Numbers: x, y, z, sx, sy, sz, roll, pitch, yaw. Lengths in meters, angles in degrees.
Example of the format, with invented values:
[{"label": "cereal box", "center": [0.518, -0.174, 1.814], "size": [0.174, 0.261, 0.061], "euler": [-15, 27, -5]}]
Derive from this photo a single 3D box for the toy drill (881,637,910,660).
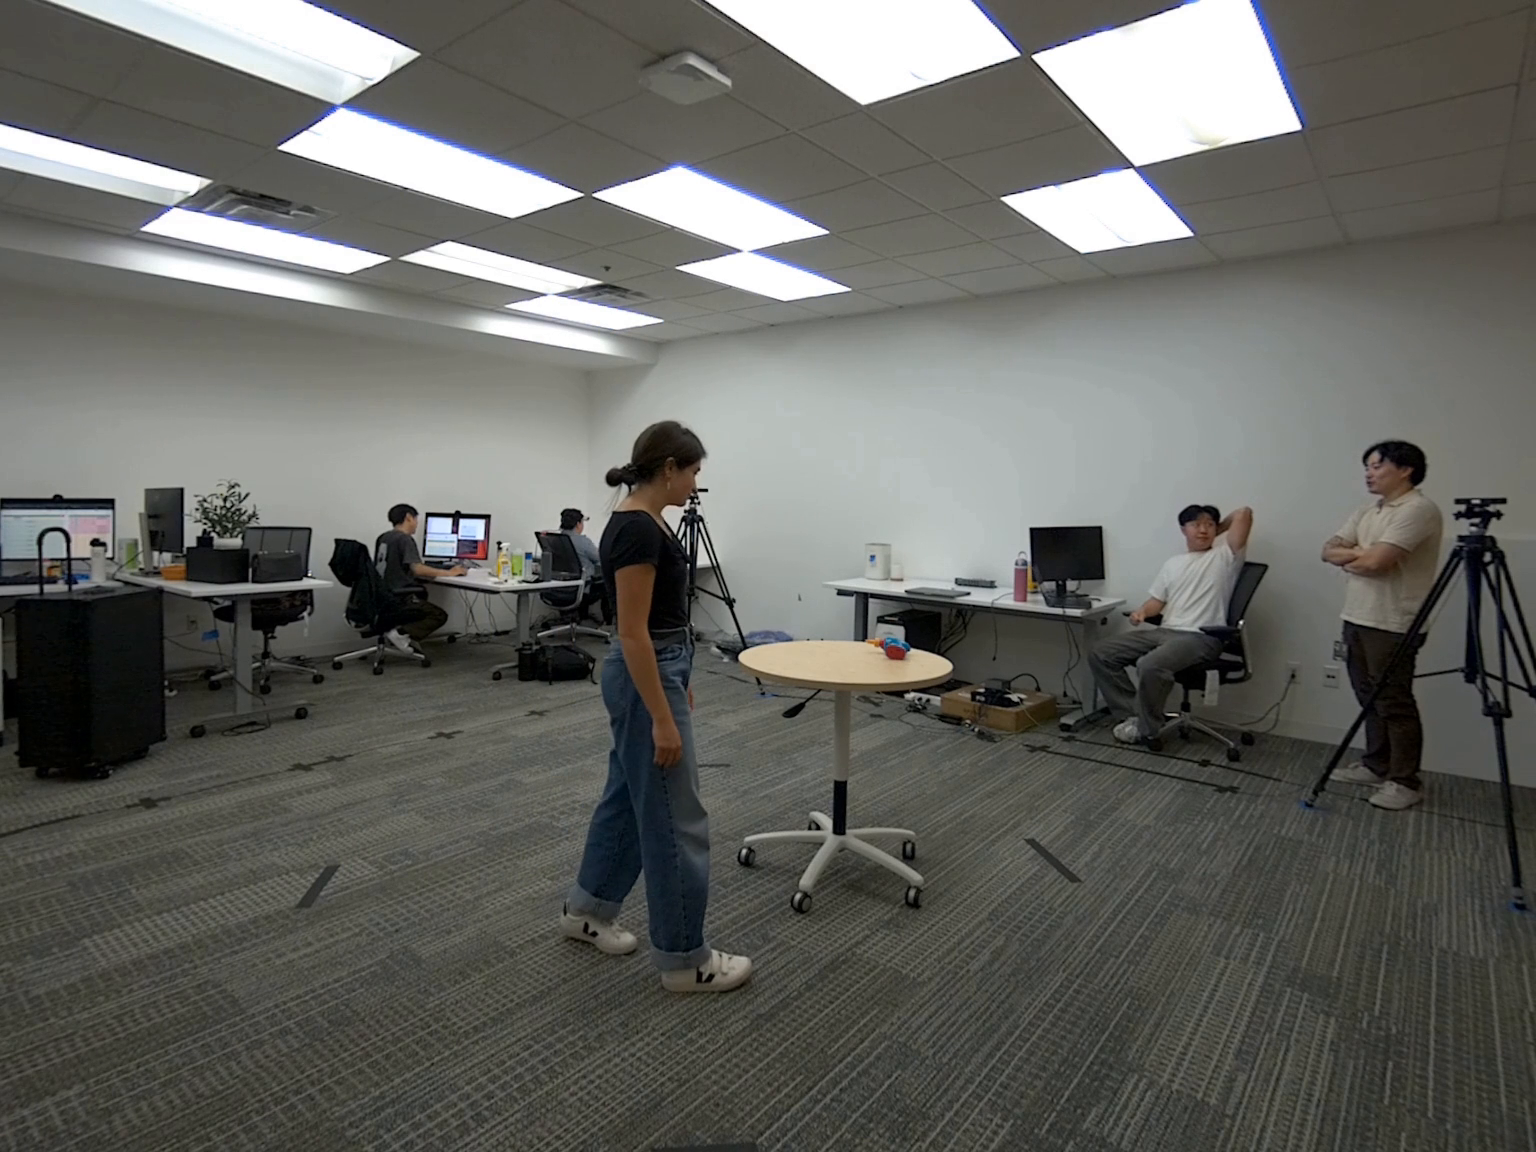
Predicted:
[{"label": "toy drill", "center": [0.460, 0.258, 3.179], "size": [0.173, 0.061, 0.144], "euler": [10, 9, 14]}]
